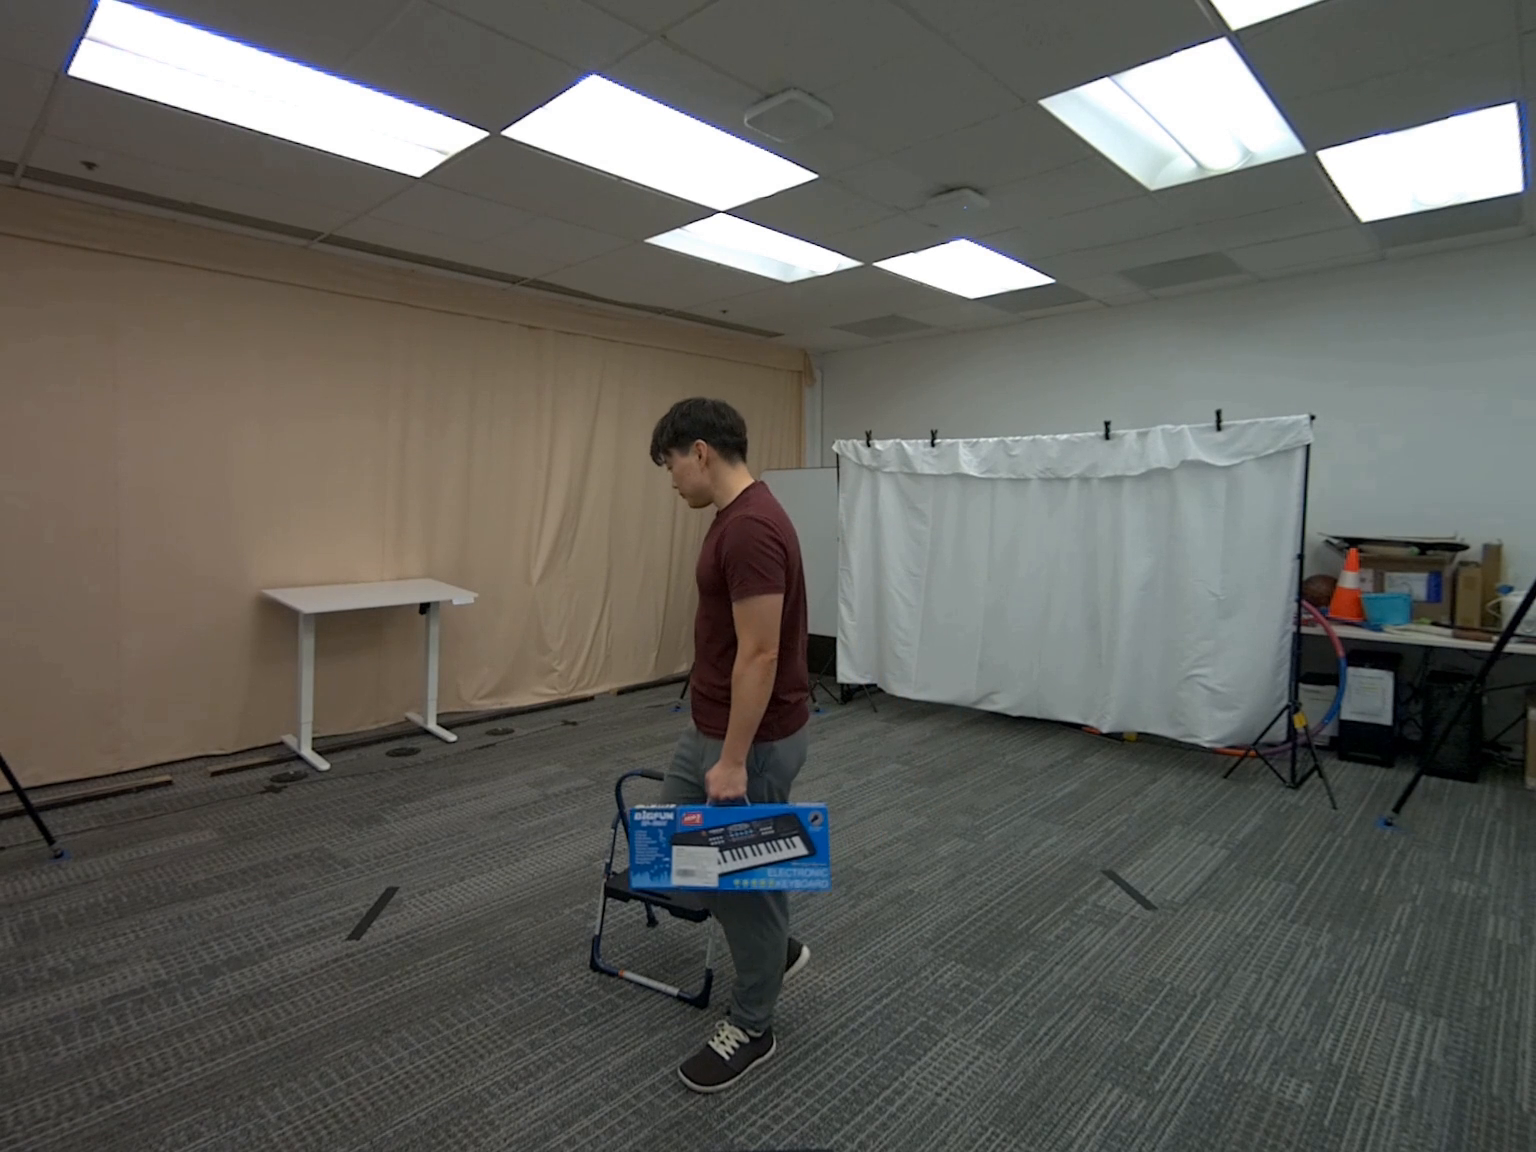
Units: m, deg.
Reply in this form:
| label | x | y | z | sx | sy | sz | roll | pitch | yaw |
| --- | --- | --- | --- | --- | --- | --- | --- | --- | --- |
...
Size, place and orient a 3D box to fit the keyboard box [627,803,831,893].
| label | x | y | z | sx | sy | sz | roll | pitch | yaw |
| --- | --- | --- | --- | --- | --- | --- | --- | --- | --- |
| keyboard box | -0.085 | 0.590 | 1.863 | 0.440 | 0.177 | 0.058 | -2 | -9 | 6 |
